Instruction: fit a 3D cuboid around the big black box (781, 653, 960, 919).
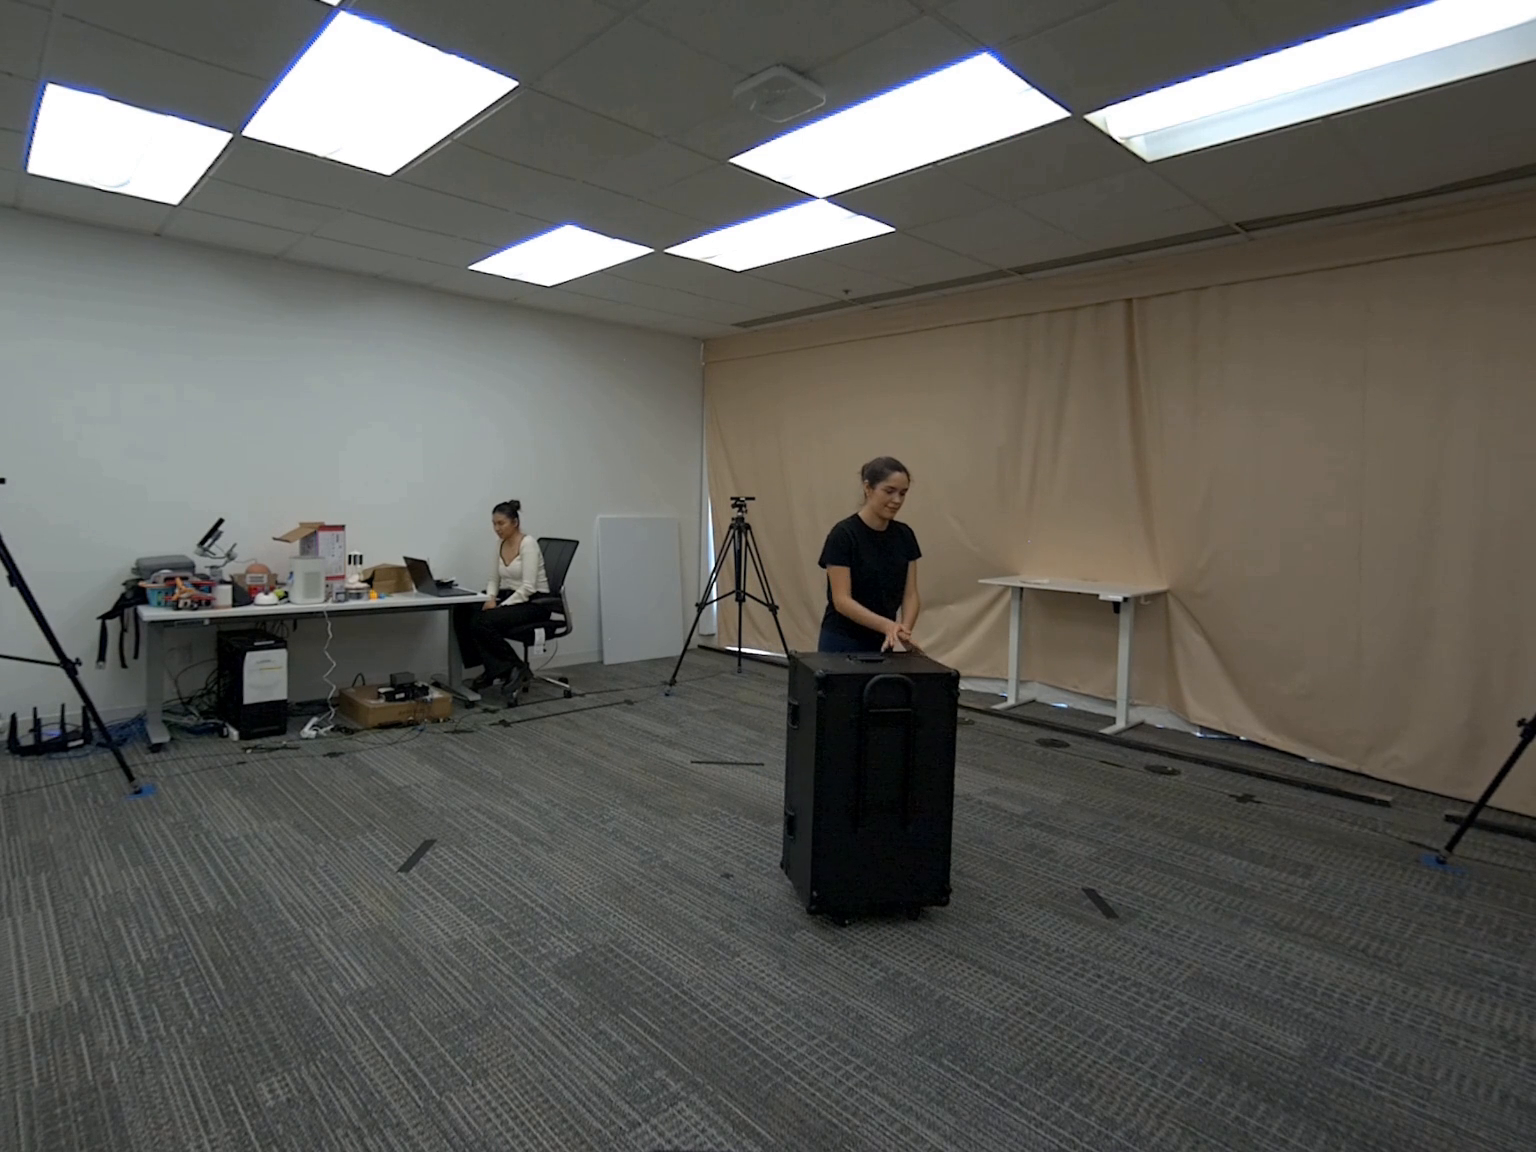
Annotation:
[{"bbox_3d":[0.338,0.716,2.857,0.516,0.858,0.402,1,5,-13],"label":"big black box"}]
